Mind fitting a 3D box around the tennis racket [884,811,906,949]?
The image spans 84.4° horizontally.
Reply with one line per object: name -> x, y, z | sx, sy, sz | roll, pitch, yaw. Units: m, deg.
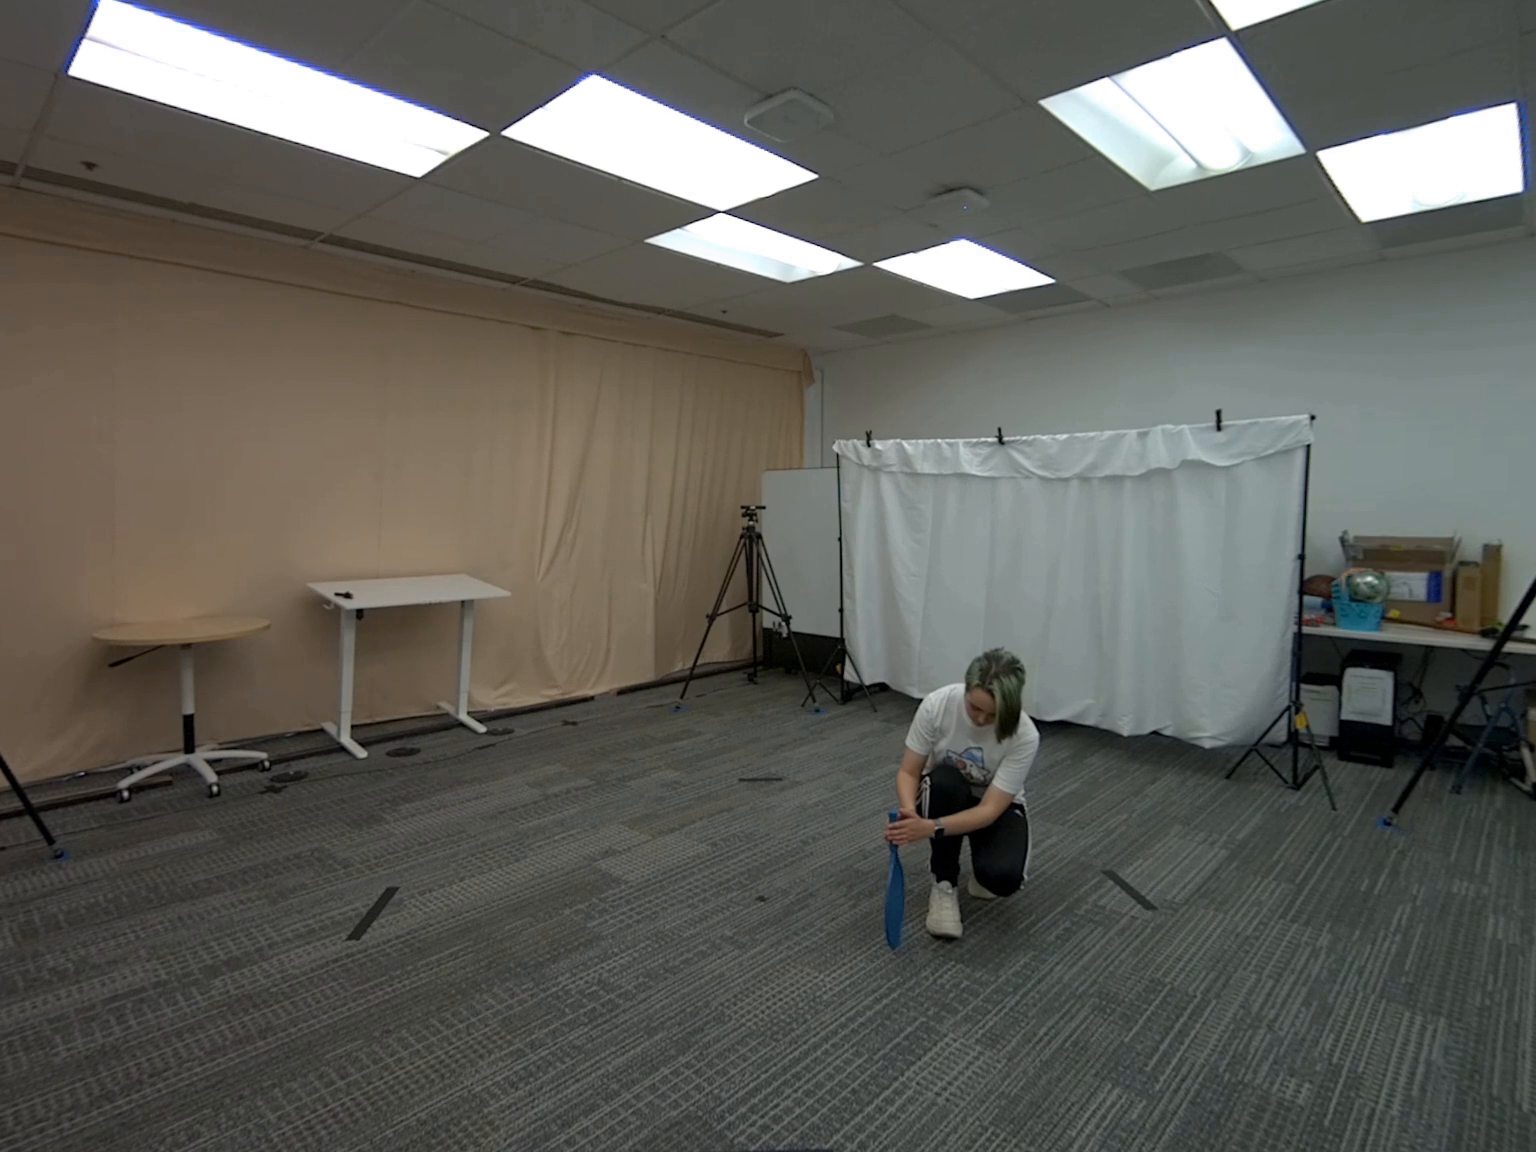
tennis racket -> 0.413, 0.958, 2.653 | 0.032, 0.433, 0.209 | 1, -1, 21
